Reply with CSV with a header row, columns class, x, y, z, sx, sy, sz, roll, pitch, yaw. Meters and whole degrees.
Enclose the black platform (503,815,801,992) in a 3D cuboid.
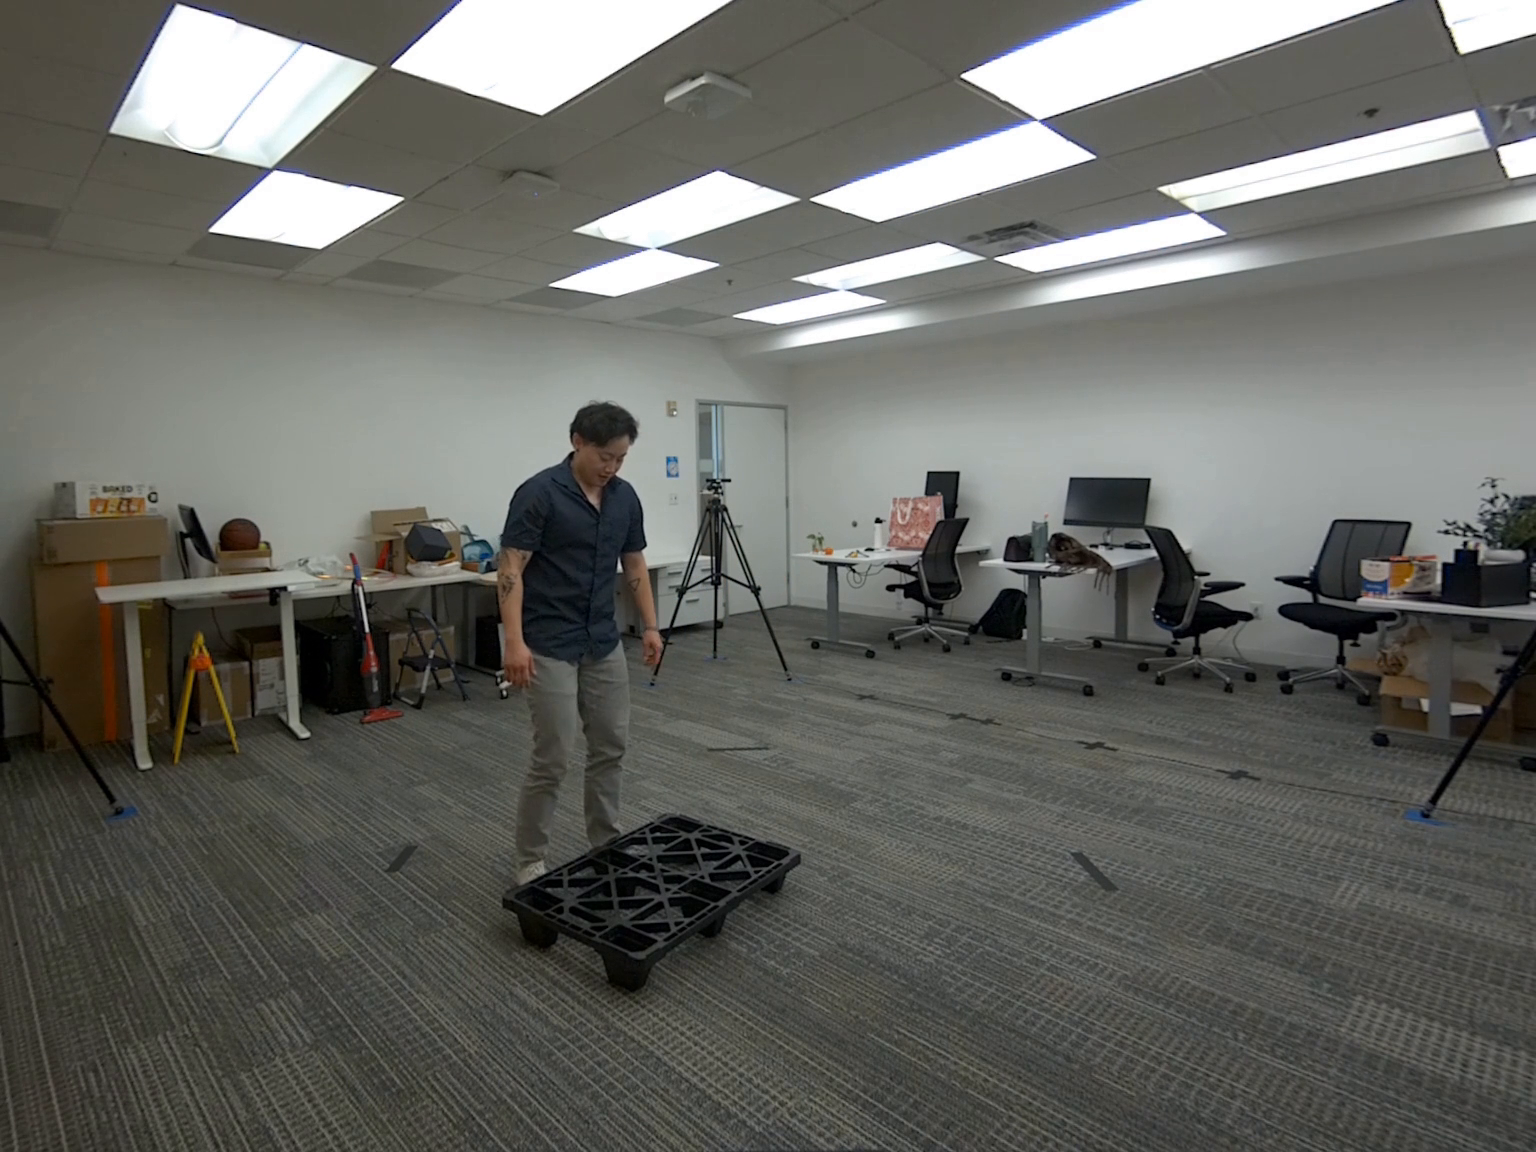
class,x,y,z,sx,sy,sz,roll,pitch,yaw
black platform,-0.353,1.023,2.759,0.623,0.142,0.786,3,8,36
